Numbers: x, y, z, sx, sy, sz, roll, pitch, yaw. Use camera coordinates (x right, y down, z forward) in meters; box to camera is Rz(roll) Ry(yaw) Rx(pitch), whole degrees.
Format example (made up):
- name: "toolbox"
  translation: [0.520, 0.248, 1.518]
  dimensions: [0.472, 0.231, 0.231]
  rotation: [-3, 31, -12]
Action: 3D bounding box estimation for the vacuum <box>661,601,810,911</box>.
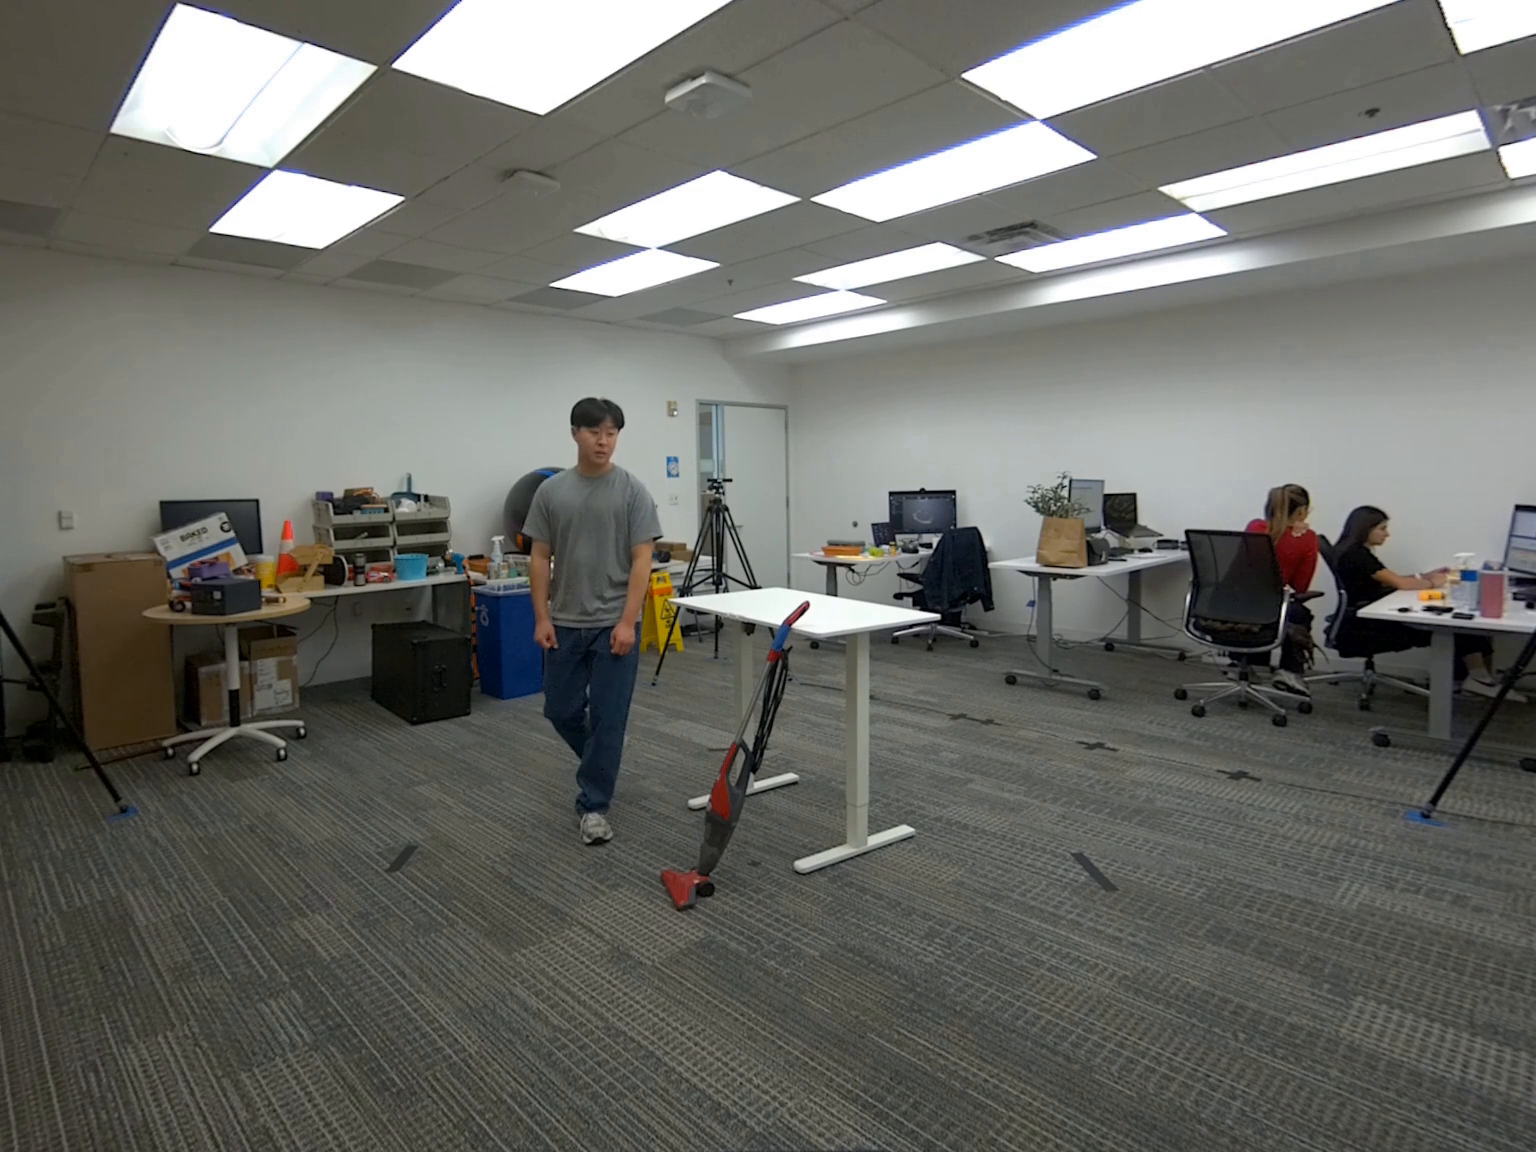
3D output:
- name: "vacuum"
  translation: [-0.067, 0.596, 2.934]
  dimensions: [0.139, 1.051, 0.260]
  rotation: [26, -4, -29]
